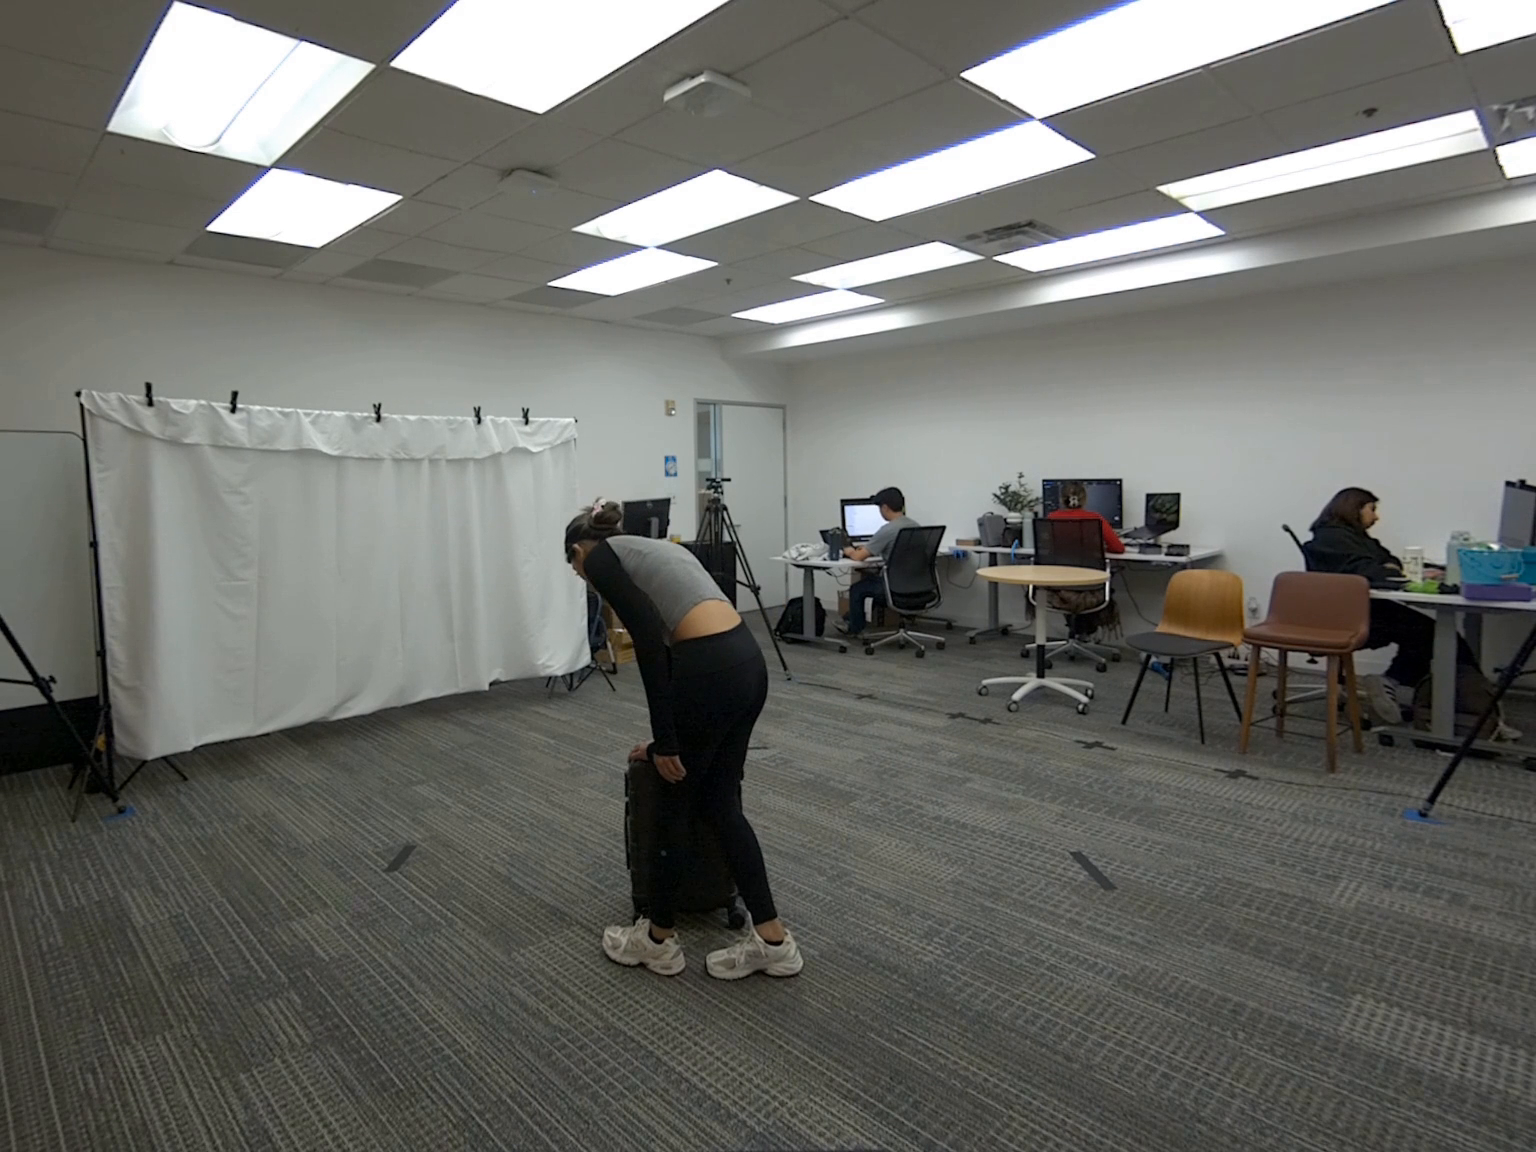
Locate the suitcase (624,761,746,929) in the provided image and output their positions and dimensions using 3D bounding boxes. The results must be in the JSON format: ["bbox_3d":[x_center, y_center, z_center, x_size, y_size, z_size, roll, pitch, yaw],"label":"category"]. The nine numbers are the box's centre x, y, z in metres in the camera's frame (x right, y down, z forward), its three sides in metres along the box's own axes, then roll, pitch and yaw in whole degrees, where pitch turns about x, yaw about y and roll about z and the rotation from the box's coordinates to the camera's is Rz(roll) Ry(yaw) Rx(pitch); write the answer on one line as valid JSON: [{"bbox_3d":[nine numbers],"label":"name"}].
[{"bbox_3d":[-0.268,0.805,2.771,0.377,0.549,0.248,-2,2,3],"label":"suitcase"}]
